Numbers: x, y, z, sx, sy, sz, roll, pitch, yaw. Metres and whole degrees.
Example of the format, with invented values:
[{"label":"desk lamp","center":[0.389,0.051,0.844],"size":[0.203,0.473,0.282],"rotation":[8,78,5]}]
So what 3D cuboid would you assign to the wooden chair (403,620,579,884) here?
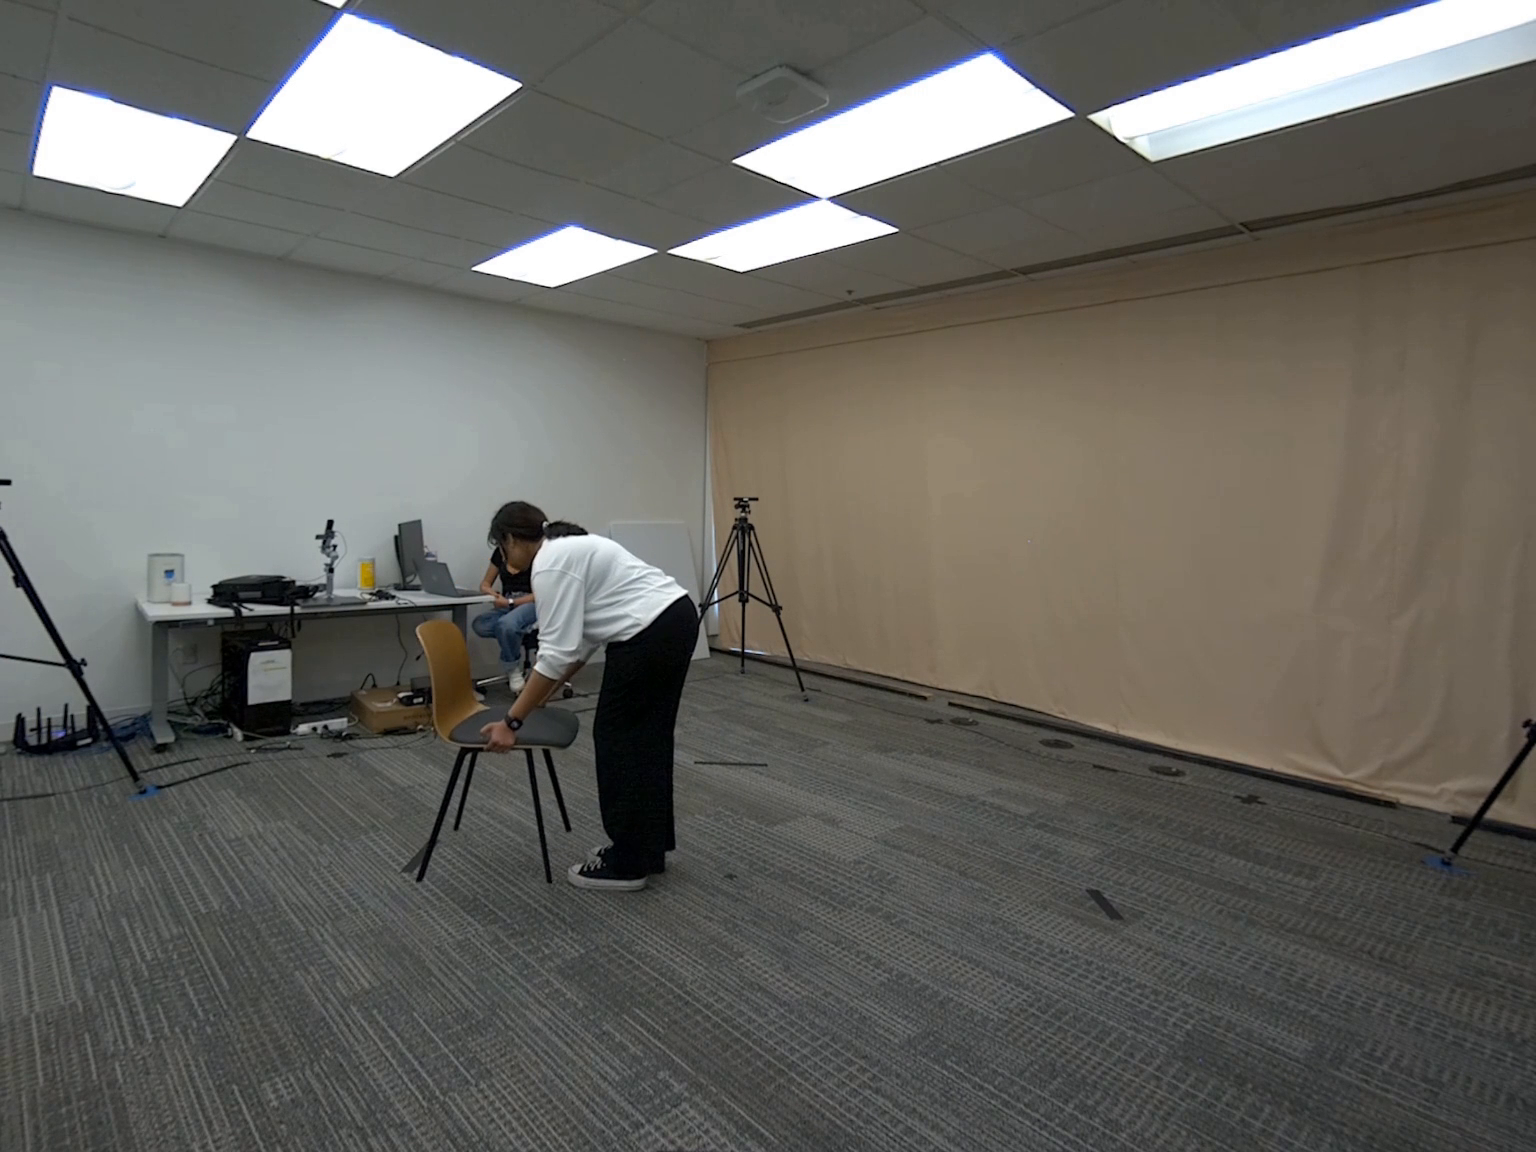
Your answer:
[{"label":"wooden chair","center":[-0.954,0.590,3.034],"size":[0.522,0.875,0.480],"rotation":[-2,4,-3]}]
